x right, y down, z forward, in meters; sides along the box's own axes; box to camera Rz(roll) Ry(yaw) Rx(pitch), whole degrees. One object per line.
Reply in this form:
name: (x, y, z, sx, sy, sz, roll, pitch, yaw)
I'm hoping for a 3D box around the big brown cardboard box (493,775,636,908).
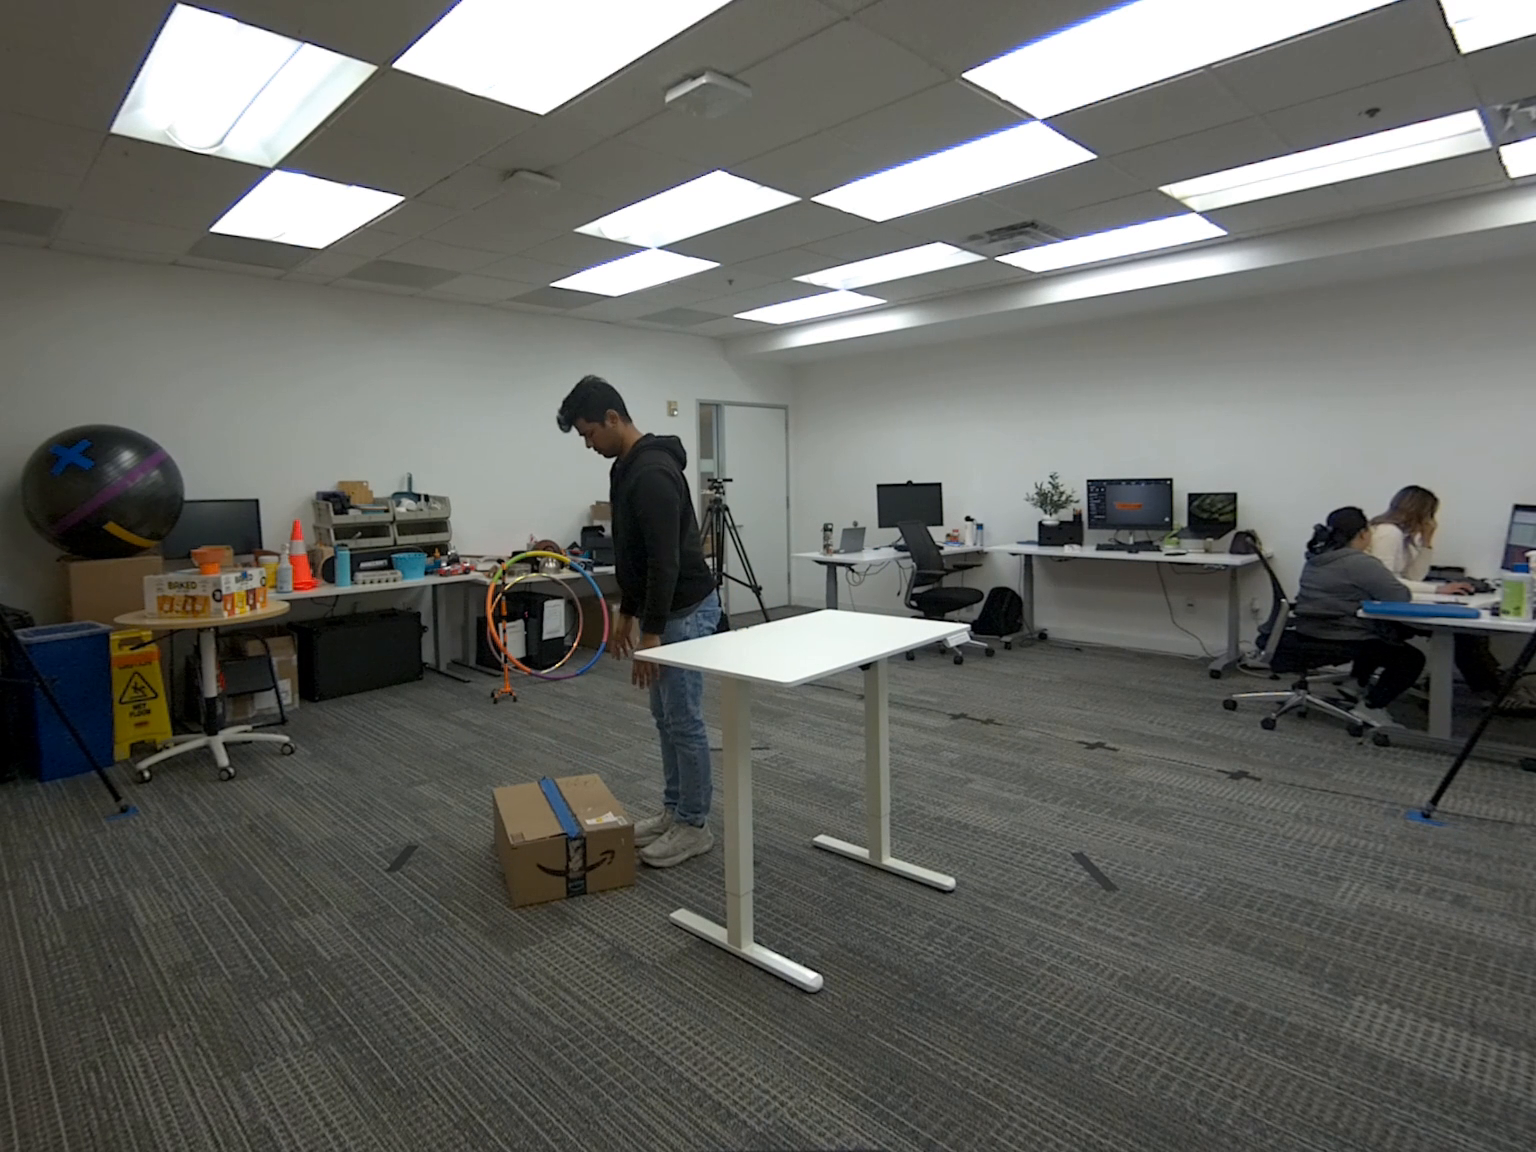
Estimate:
big brown cardboard box: (-0.756, 0.945, 3.128, 0.409, 0.232, 0.603, -4, 6, -23)
